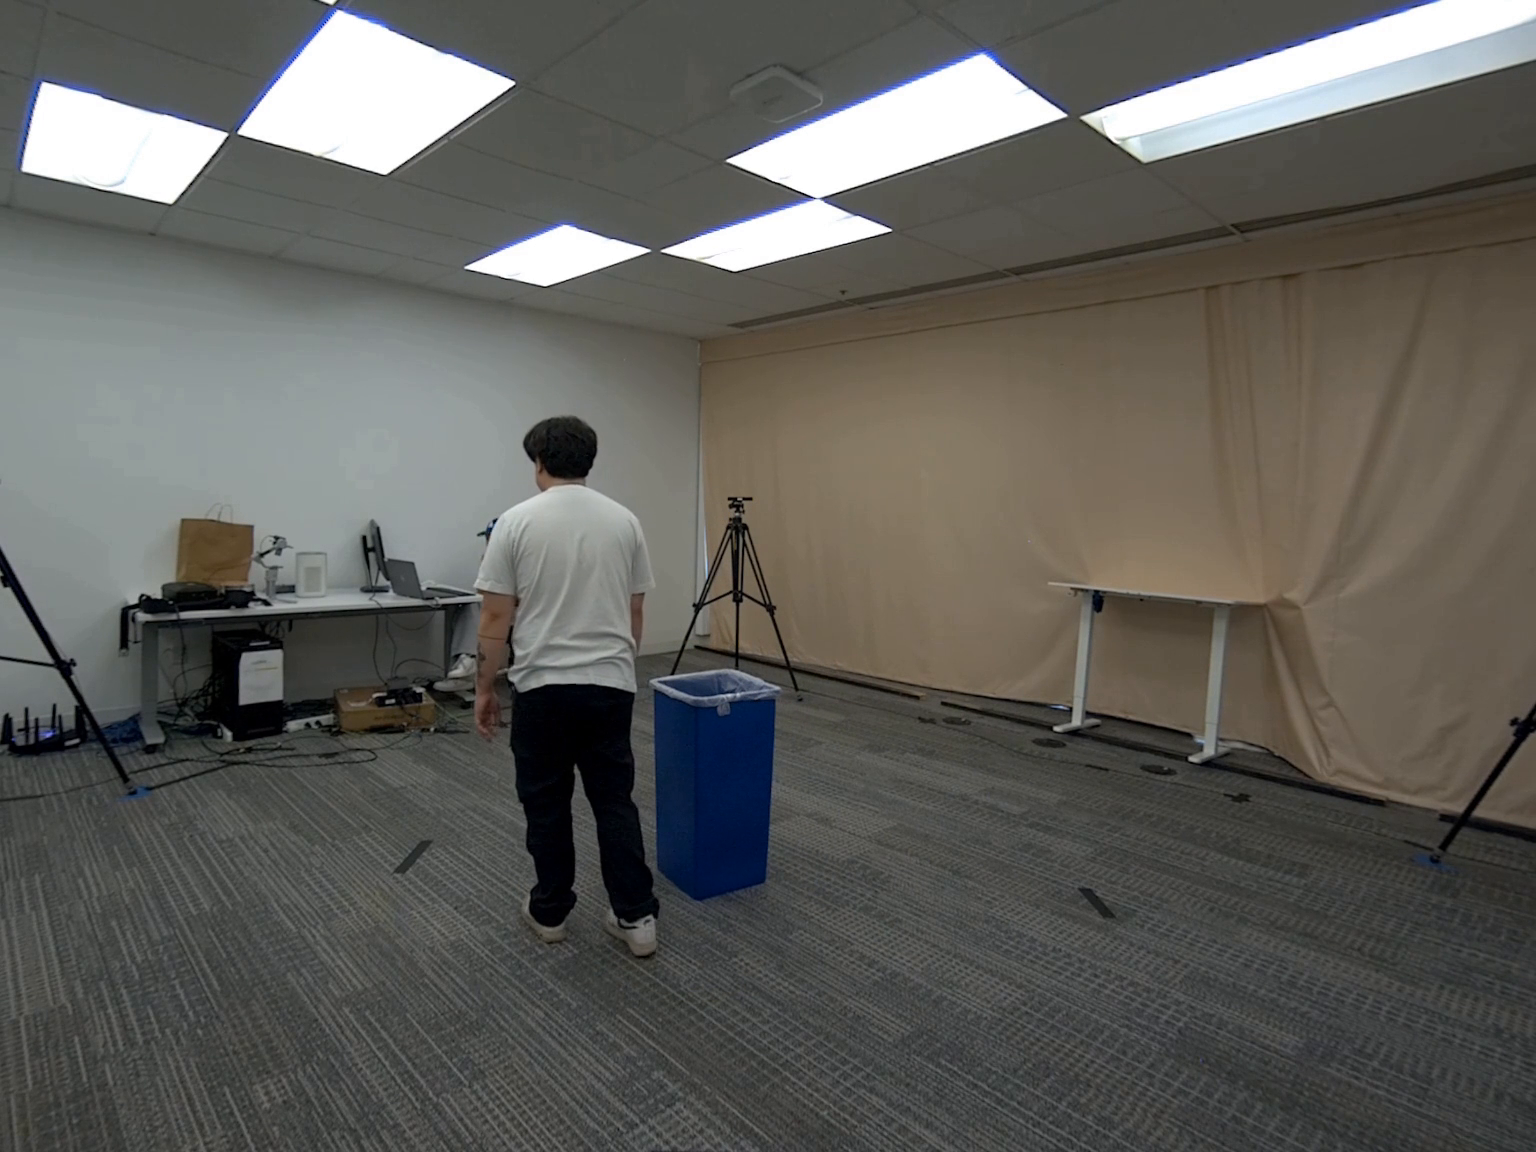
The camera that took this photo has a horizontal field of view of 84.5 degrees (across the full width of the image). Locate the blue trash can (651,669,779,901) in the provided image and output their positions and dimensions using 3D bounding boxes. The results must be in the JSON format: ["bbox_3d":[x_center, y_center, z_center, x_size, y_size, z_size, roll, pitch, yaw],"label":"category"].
[{"bbox_3d":[-0.215,0.749,3.094,0.370,0.712,0.383,-1,4,-34],"label":"blue trash can"}]
